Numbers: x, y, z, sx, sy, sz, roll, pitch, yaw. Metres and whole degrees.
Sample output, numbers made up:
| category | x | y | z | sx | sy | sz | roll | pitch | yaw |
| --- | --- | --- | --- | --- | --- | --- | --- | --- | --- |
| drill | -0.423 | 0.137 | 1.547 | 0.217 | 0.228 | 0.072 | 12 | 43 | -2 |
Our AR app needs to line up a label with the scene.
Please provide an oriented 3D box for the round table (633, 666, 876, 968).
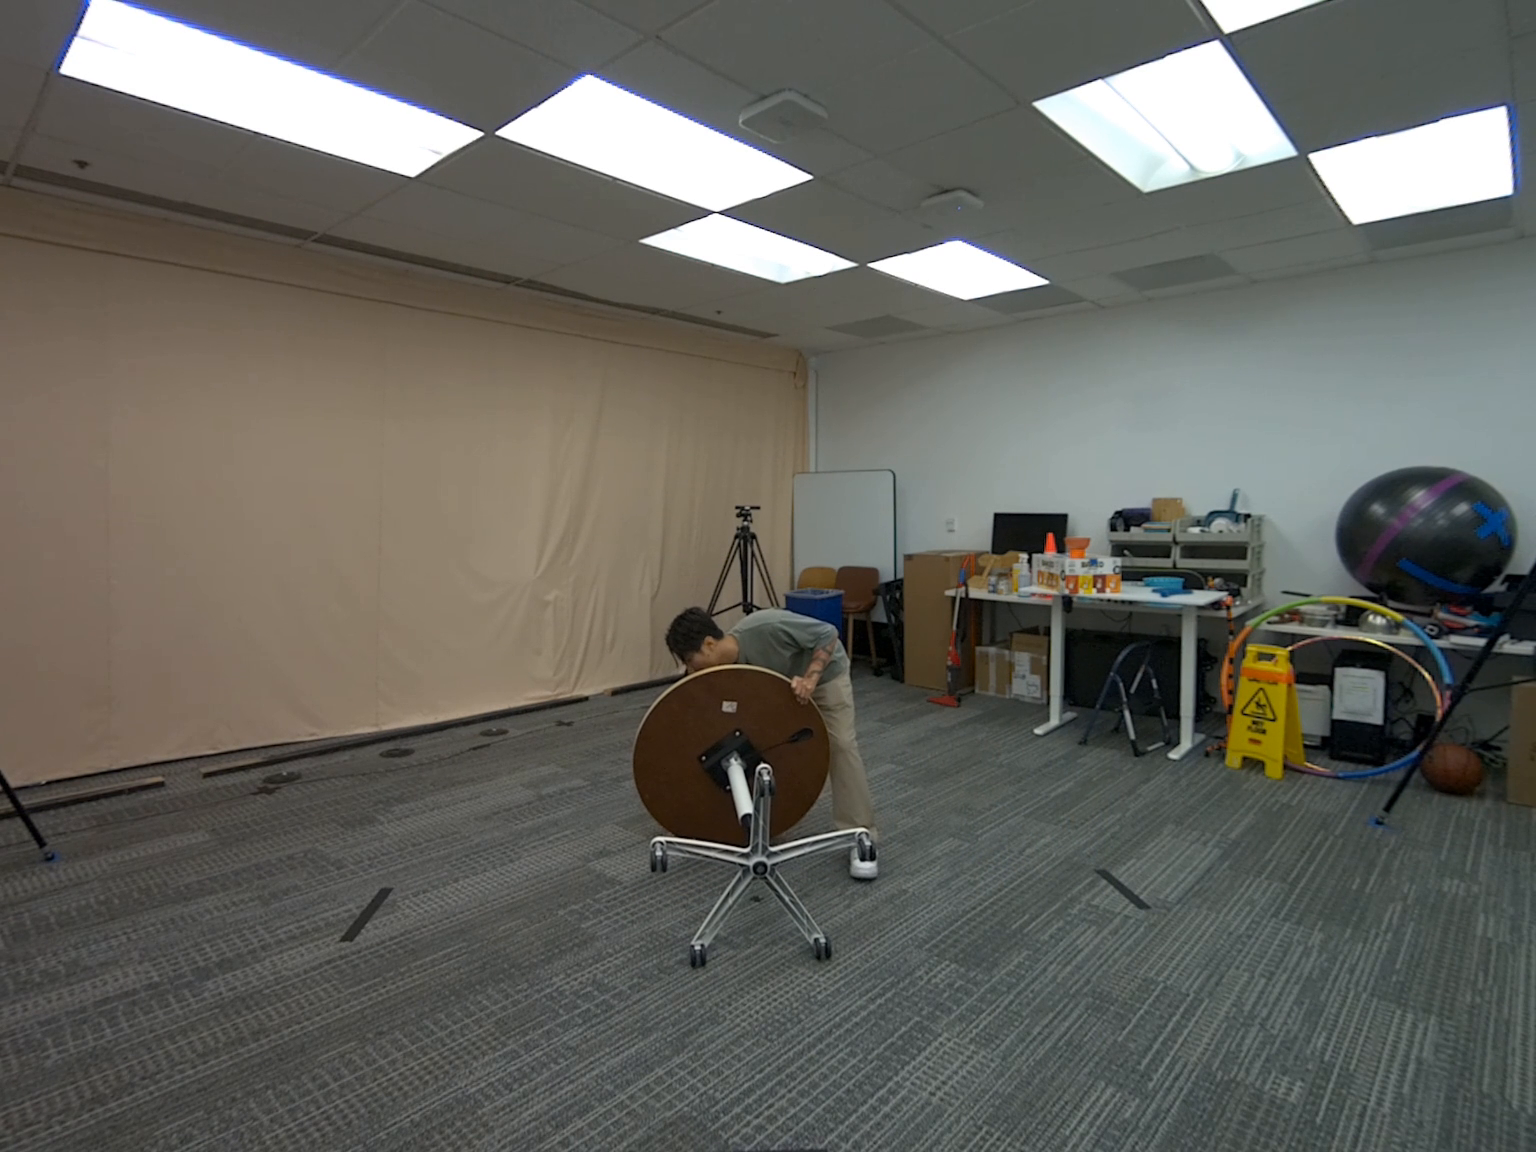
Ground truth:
| category | x | y | z | sx | sy | sz | roll | pitch | yaw |
| --- | --- | --- | --- | --- | --- | --- | --- | --- | --- |
| round table | -0.076 | 0.795 | 2.864 | 0.778 | 0.778 | 0.800 | -1 | 14 | -9 |
